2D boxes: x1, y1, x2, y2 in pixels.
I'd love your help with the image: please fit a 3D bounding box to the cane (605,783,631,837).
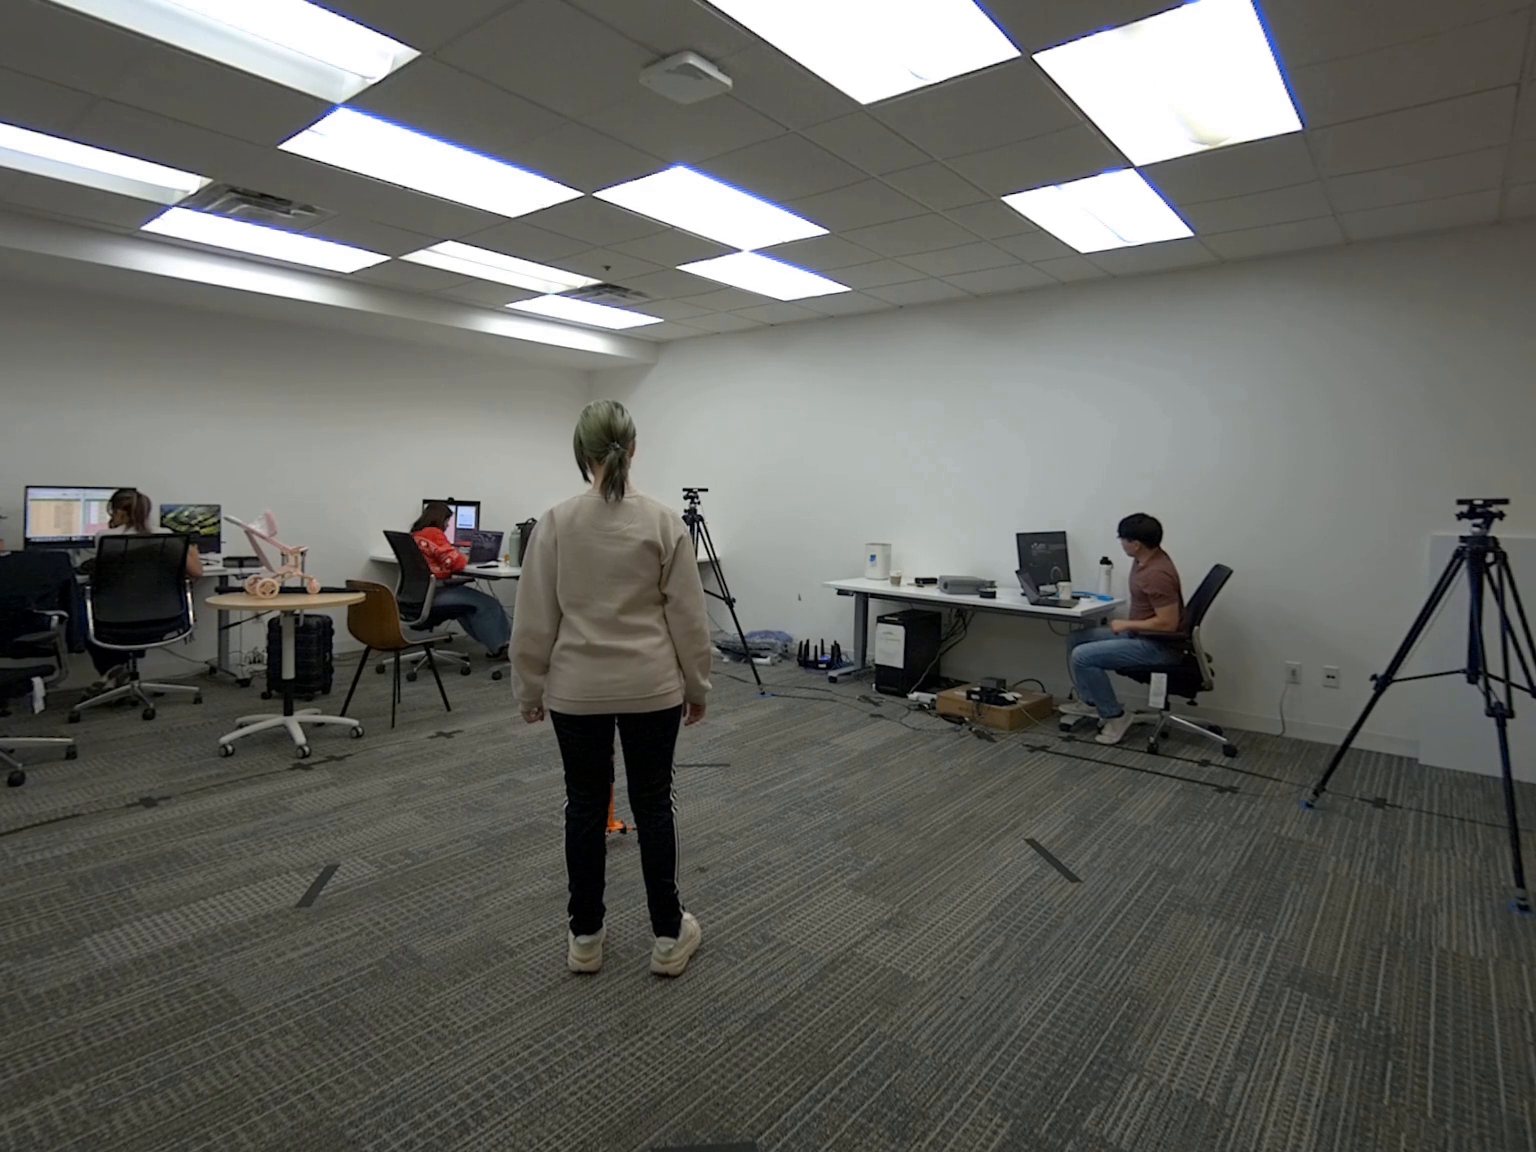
[{"bbox_3d":[-0.603,0.589,3.308,0.200,0.905,0.157,-1,4,-43],"label":"cane"}]
